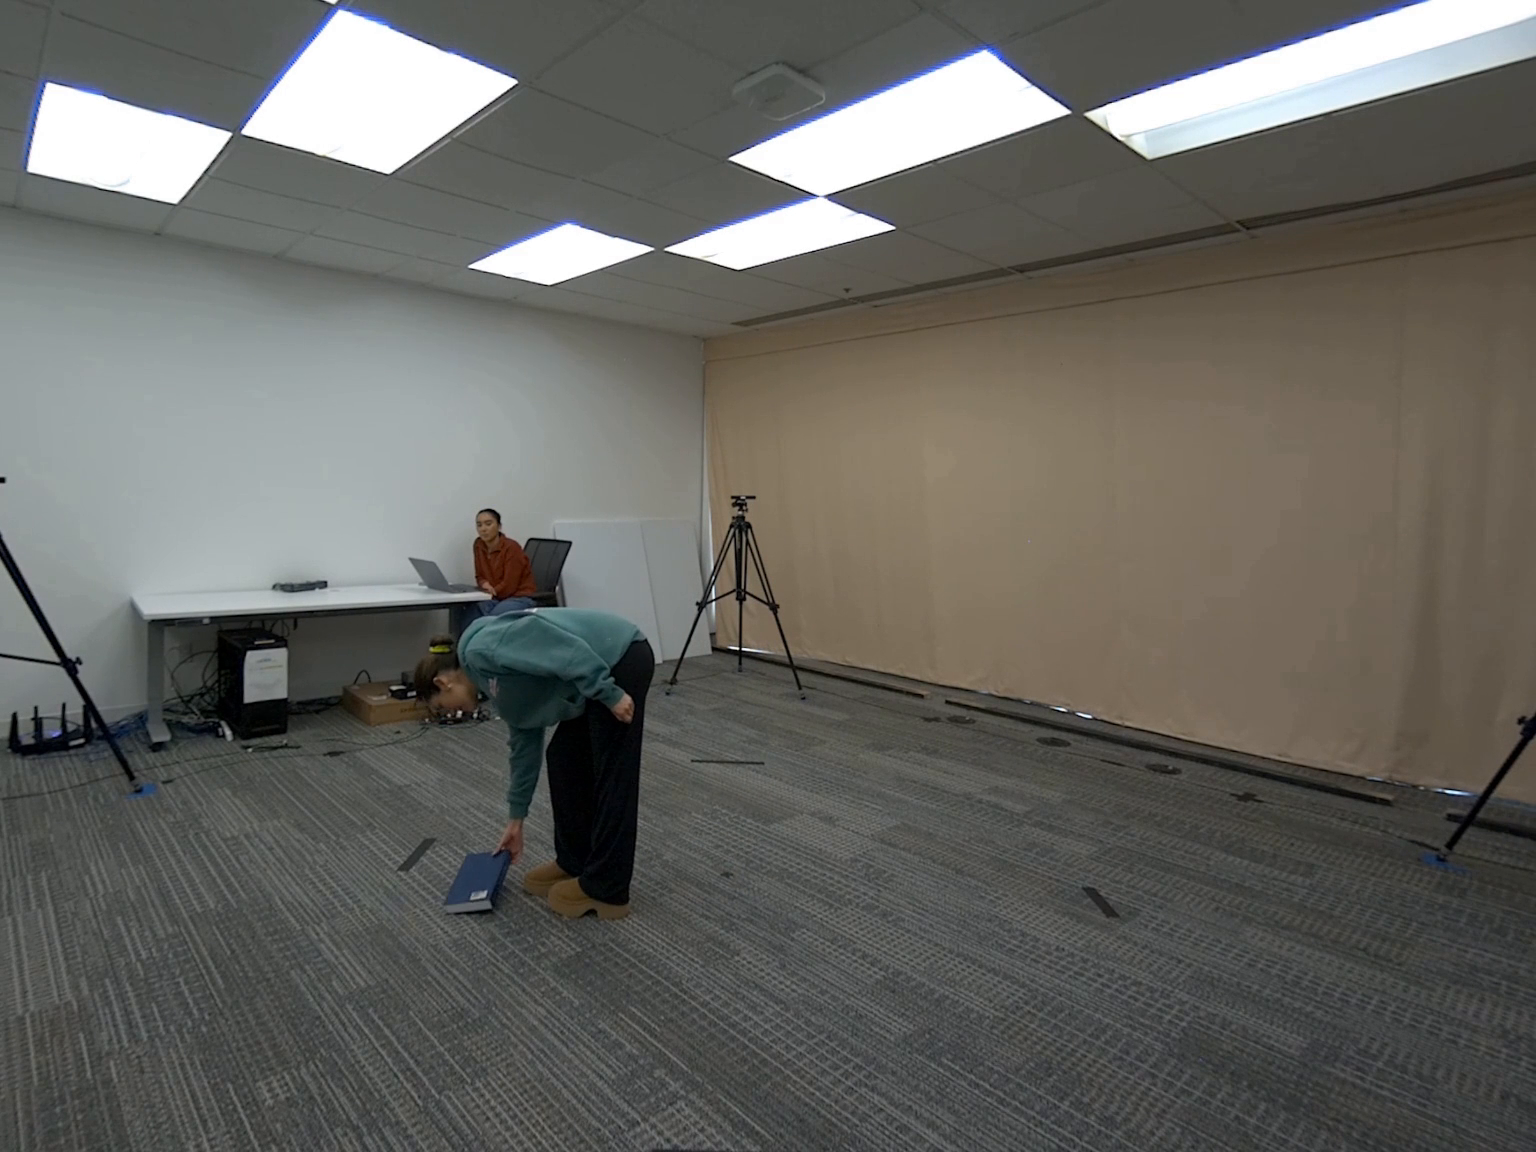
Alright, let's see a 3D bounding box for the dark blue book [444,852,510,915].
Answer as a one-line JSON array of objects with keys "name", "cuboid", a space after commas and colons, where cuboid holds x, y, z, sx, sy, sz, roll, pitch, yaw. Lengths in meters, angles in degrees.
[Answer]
[{"name": "dark blue book", "cuboid": [-0.988, 1.036, 2.867, 0.164, 0.044, 0.248, -10, 20, 4]}]
